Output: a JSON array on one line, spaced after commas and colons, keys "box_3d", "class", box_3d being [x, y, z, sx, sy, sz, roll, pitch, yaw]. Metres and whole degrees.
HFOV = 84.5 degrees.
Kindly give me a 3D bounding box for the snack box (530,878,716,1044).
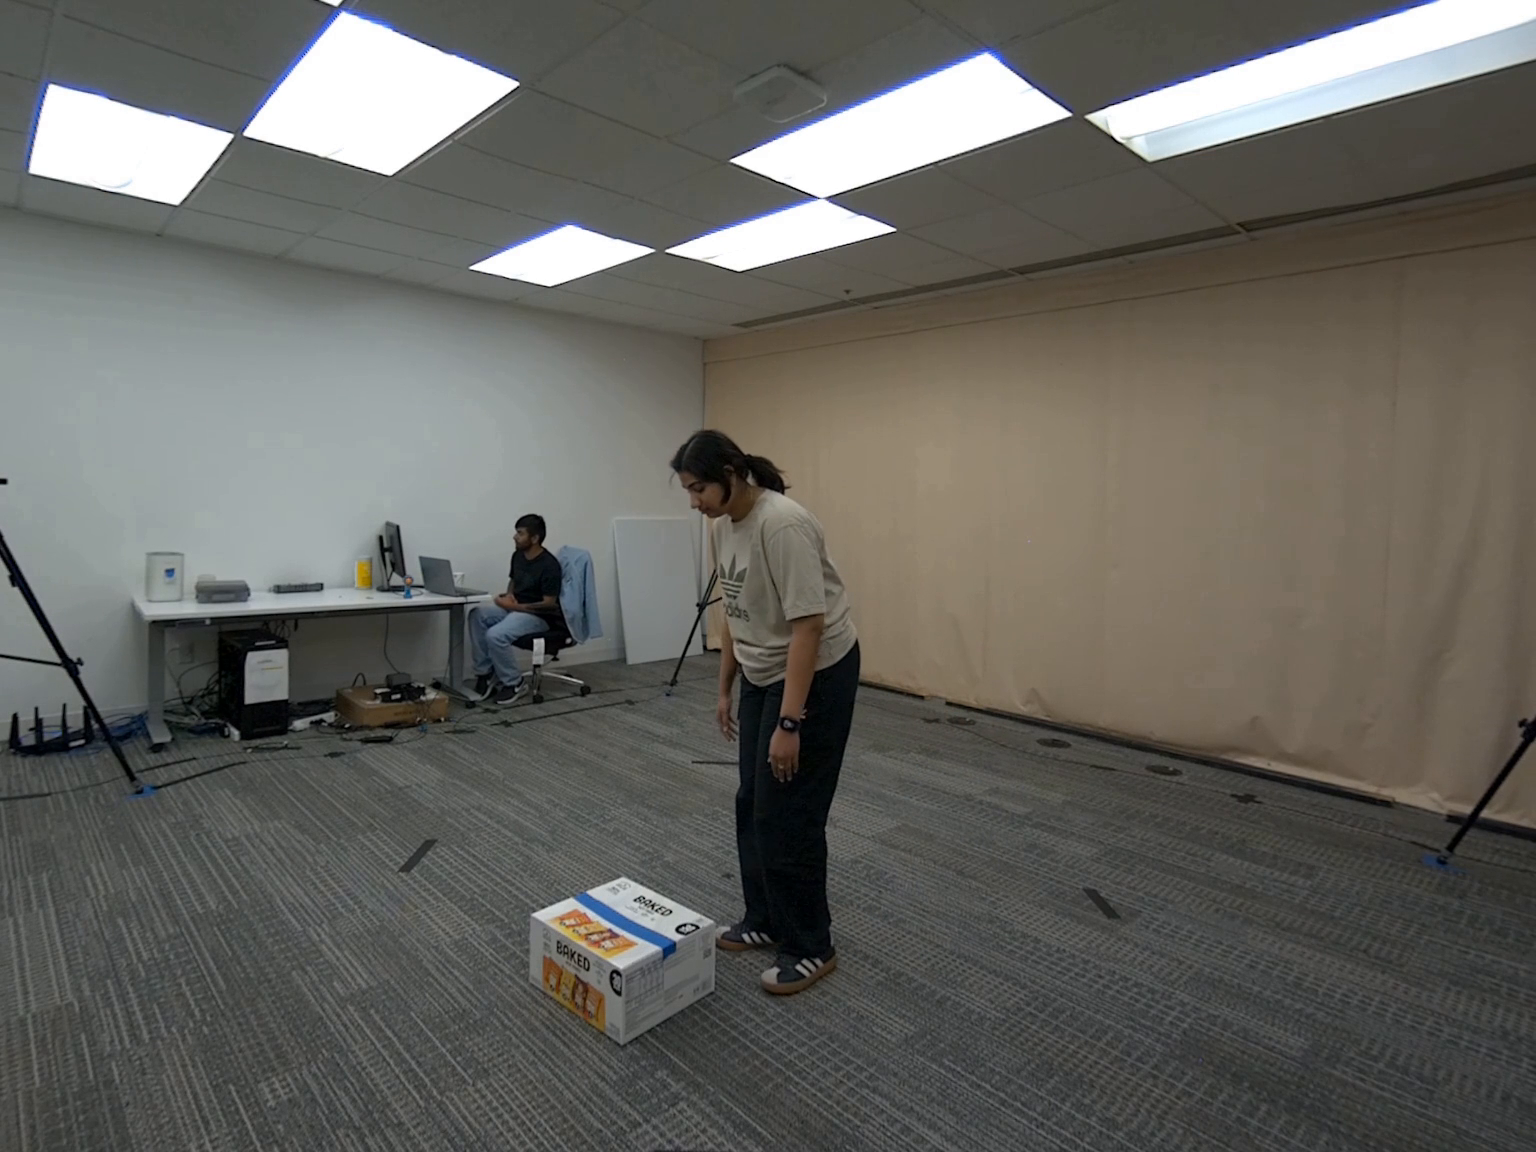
[{"box_3d": [-0.417, 1.068, 2.369, 0.415, 0.205, 0.333, 5, 6, 41], "class": "snack box"}]
